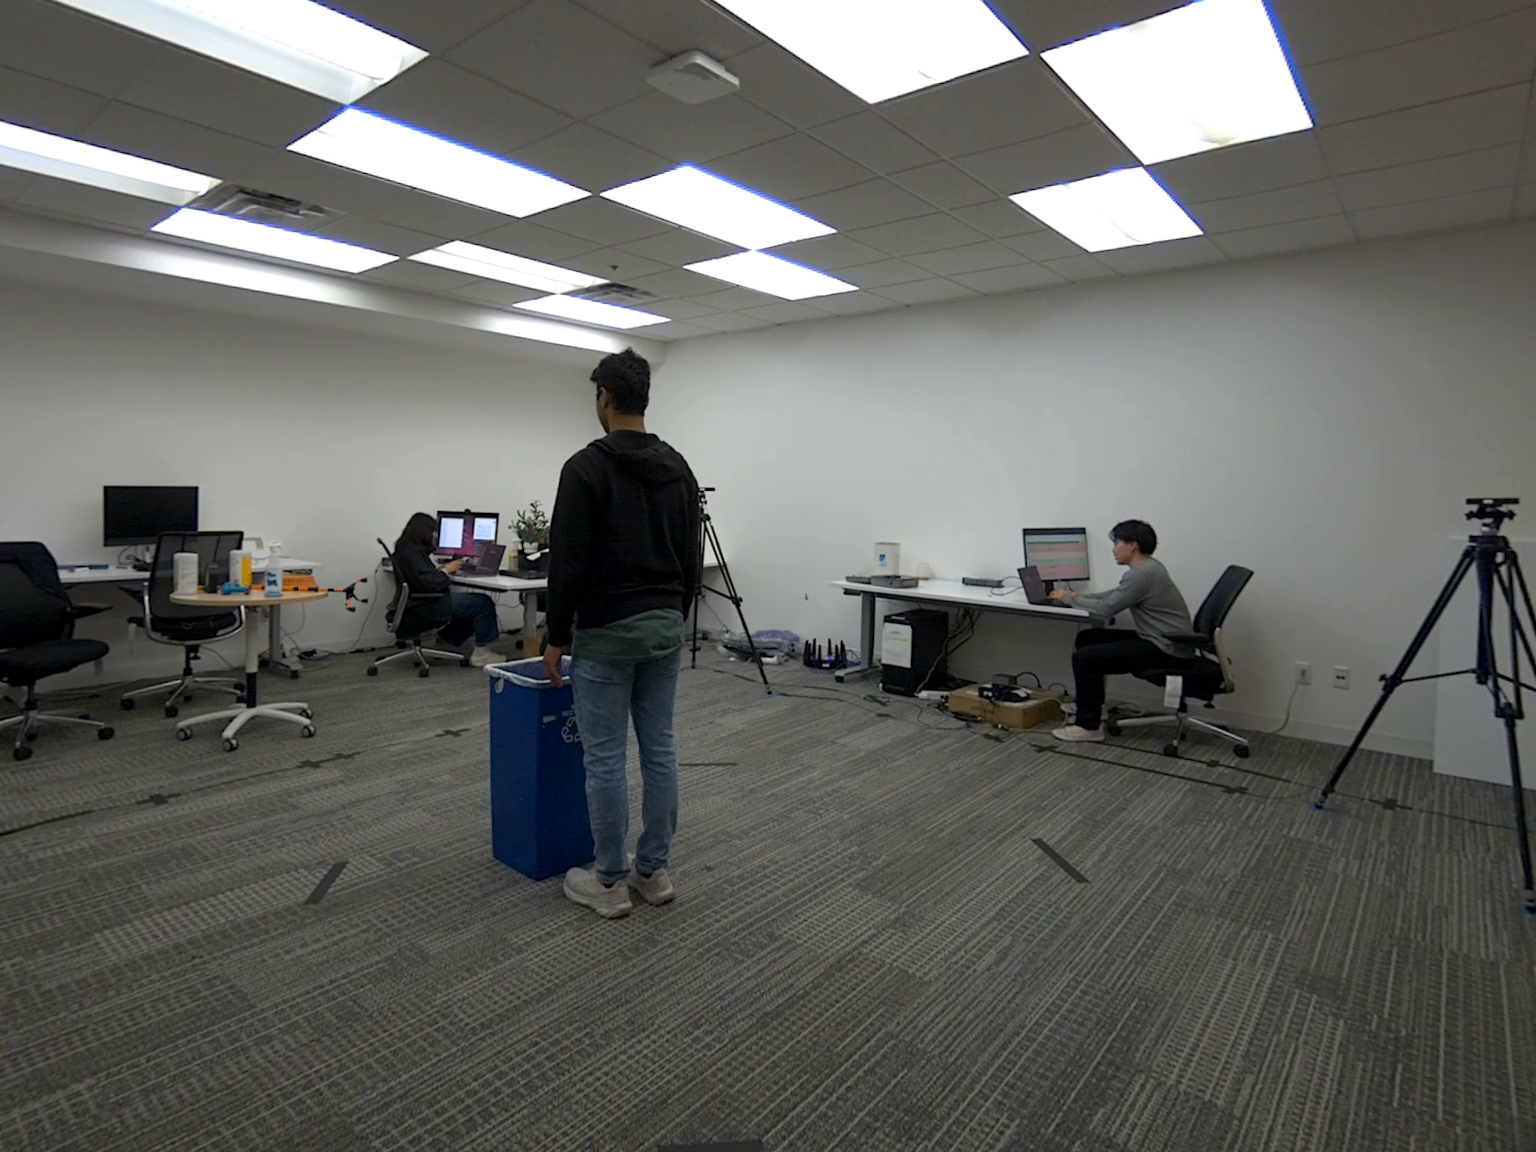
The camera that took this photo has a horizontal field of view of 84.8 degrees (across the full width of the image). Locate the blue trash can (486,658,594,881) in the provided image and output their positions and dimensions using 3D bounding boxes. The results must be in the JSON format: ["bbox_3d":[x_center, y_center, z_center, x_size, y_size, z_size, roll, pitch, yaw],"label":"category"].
[{"bbox_3d":[-0.827,0.692,3.177,0.391,0.711,0.362,5,4,42],"label":"blue trash can"}]
